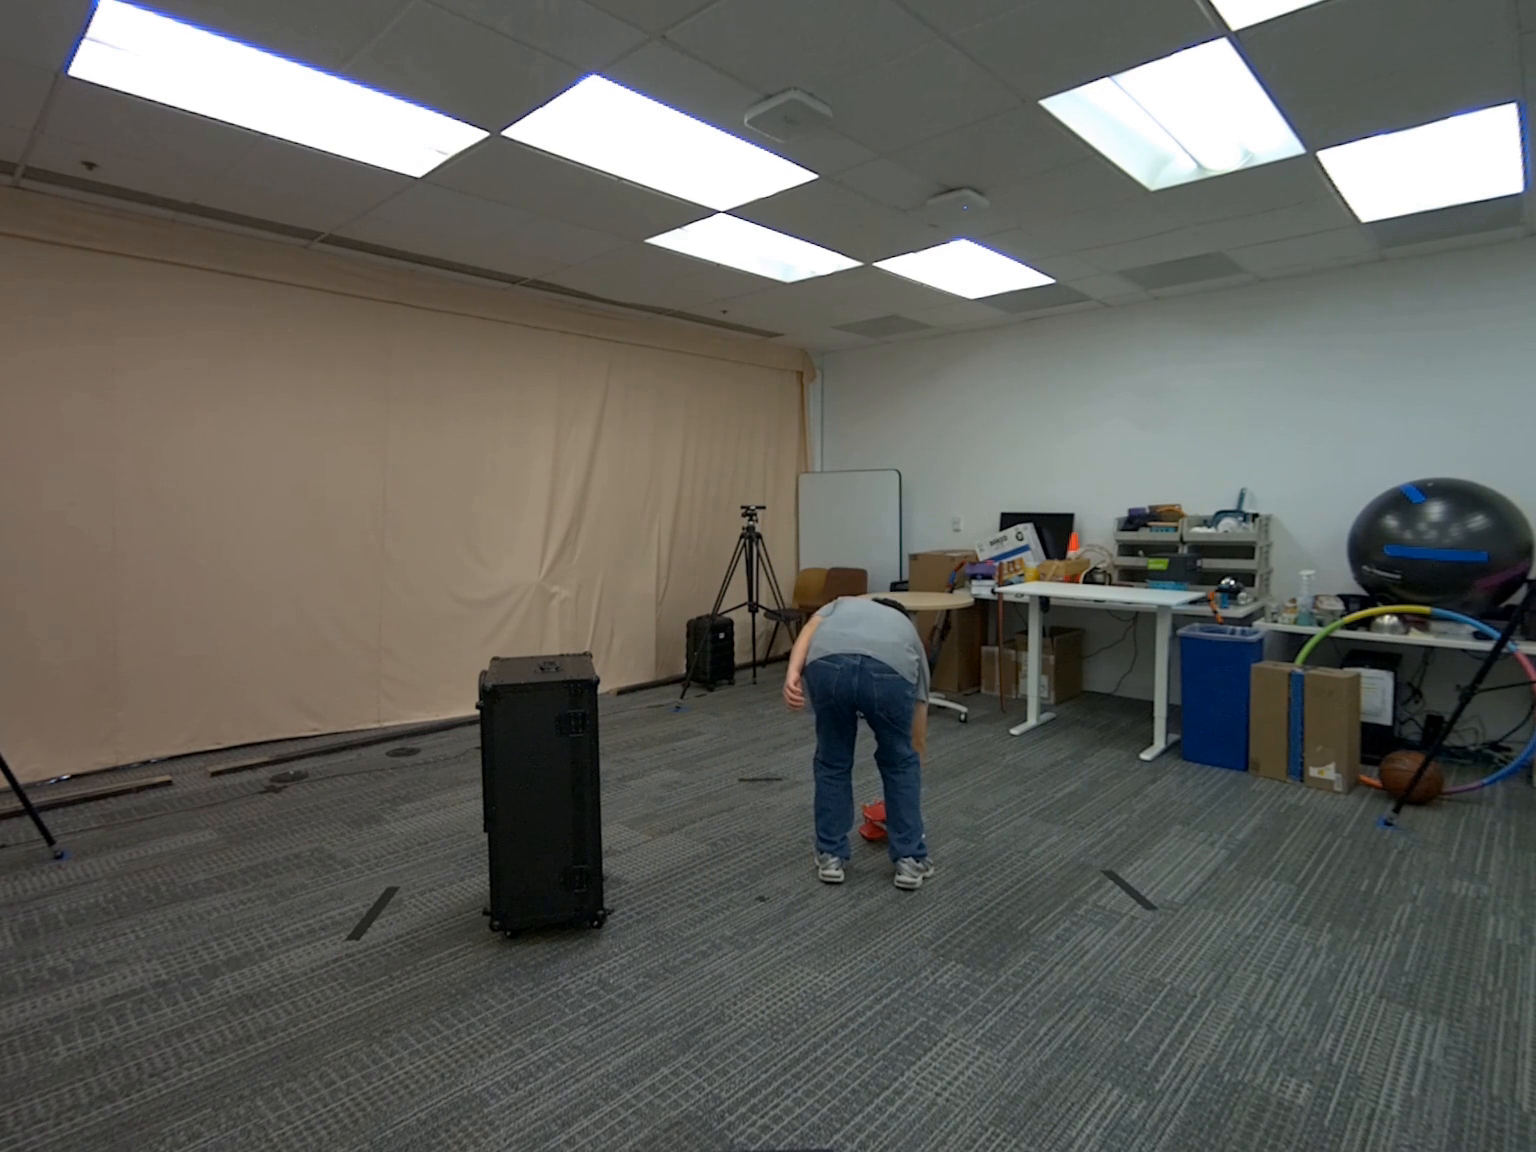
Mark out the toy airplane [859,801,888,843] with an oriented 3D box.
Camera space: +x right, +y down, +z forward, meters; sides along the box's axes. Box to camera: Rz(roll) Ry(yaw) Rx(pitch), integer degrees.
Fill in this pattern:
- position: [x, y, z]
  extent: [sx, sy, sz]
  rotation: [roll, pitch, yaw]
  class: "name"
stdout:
- position: [0.524, 1.032, 3.486]
  extent: [0.264, 0.156, 0.247]
  rotation: [0, 4, 16]
  class: "toy airplane"
